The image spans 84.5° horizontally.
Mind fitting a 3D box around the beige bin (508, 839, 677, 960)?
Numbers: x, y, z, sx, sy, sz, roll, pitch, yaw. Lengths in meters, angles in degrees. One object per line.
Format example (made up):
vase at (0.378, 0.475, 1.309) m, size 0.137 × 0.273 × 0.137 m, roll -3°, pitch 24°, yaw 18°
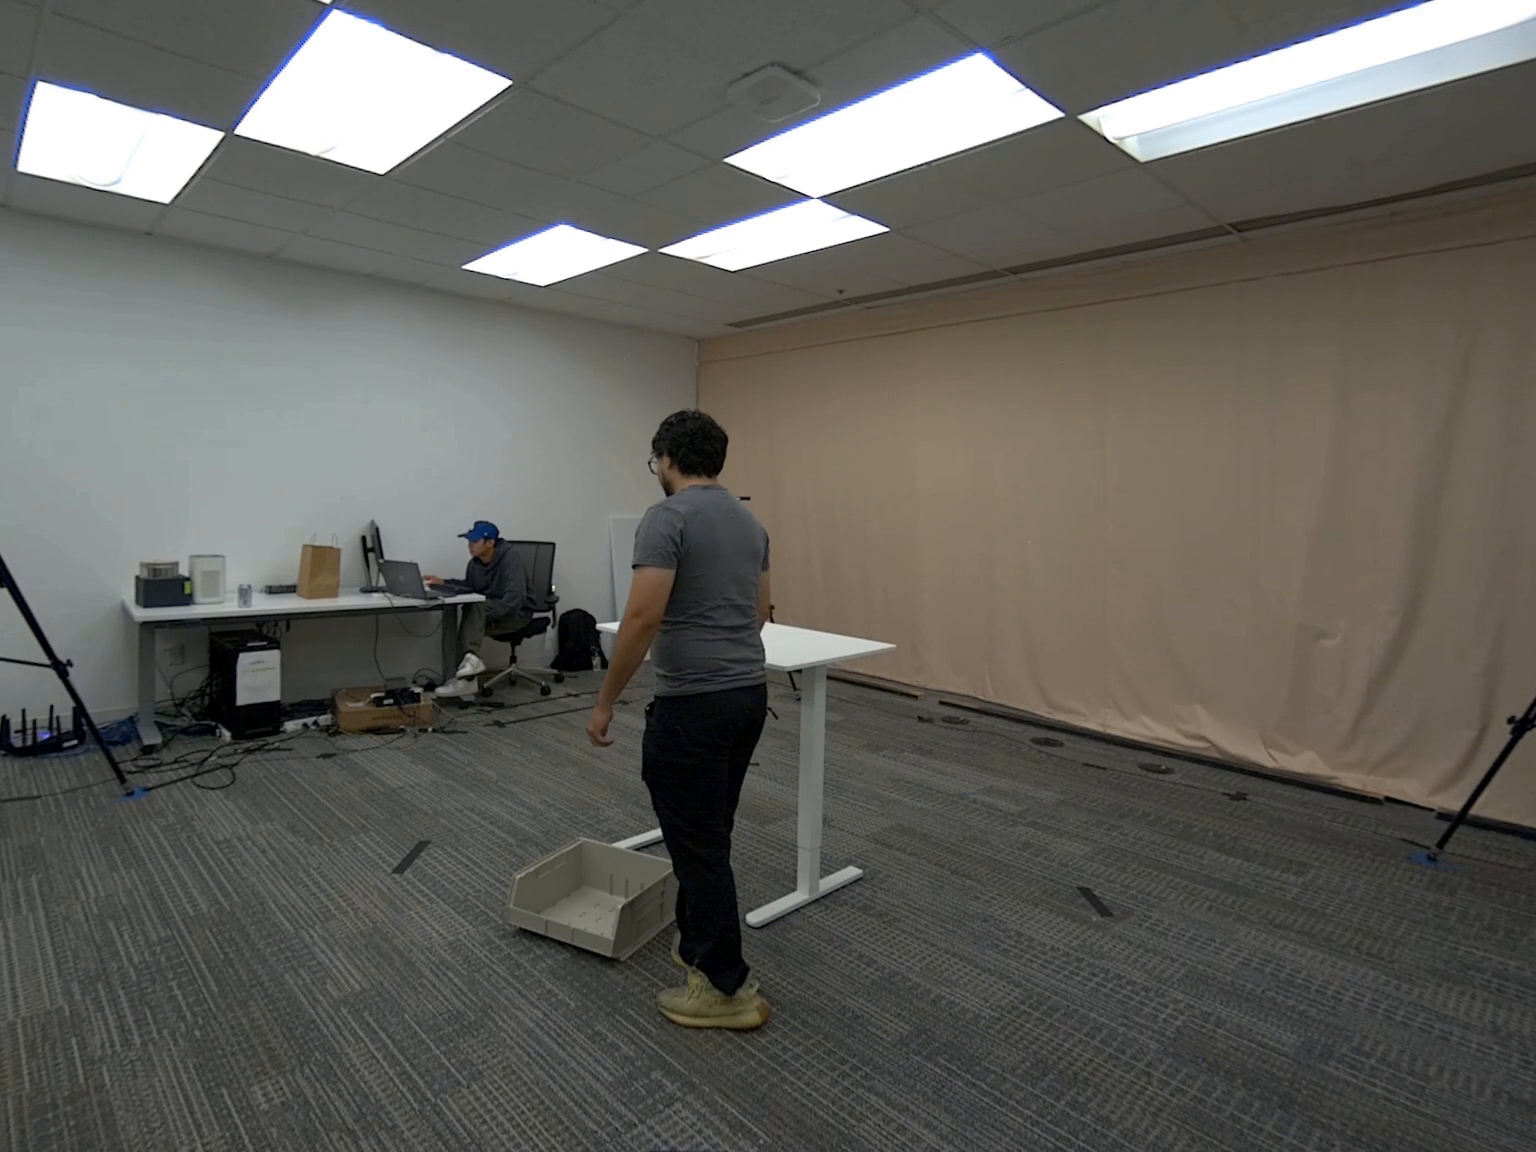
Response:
beige bin at (-0.560, 1.046, 2.721) m, size 0.431 × 0.188 × 0.371 m, roll 4°, pitch 5°, yaw 26°
